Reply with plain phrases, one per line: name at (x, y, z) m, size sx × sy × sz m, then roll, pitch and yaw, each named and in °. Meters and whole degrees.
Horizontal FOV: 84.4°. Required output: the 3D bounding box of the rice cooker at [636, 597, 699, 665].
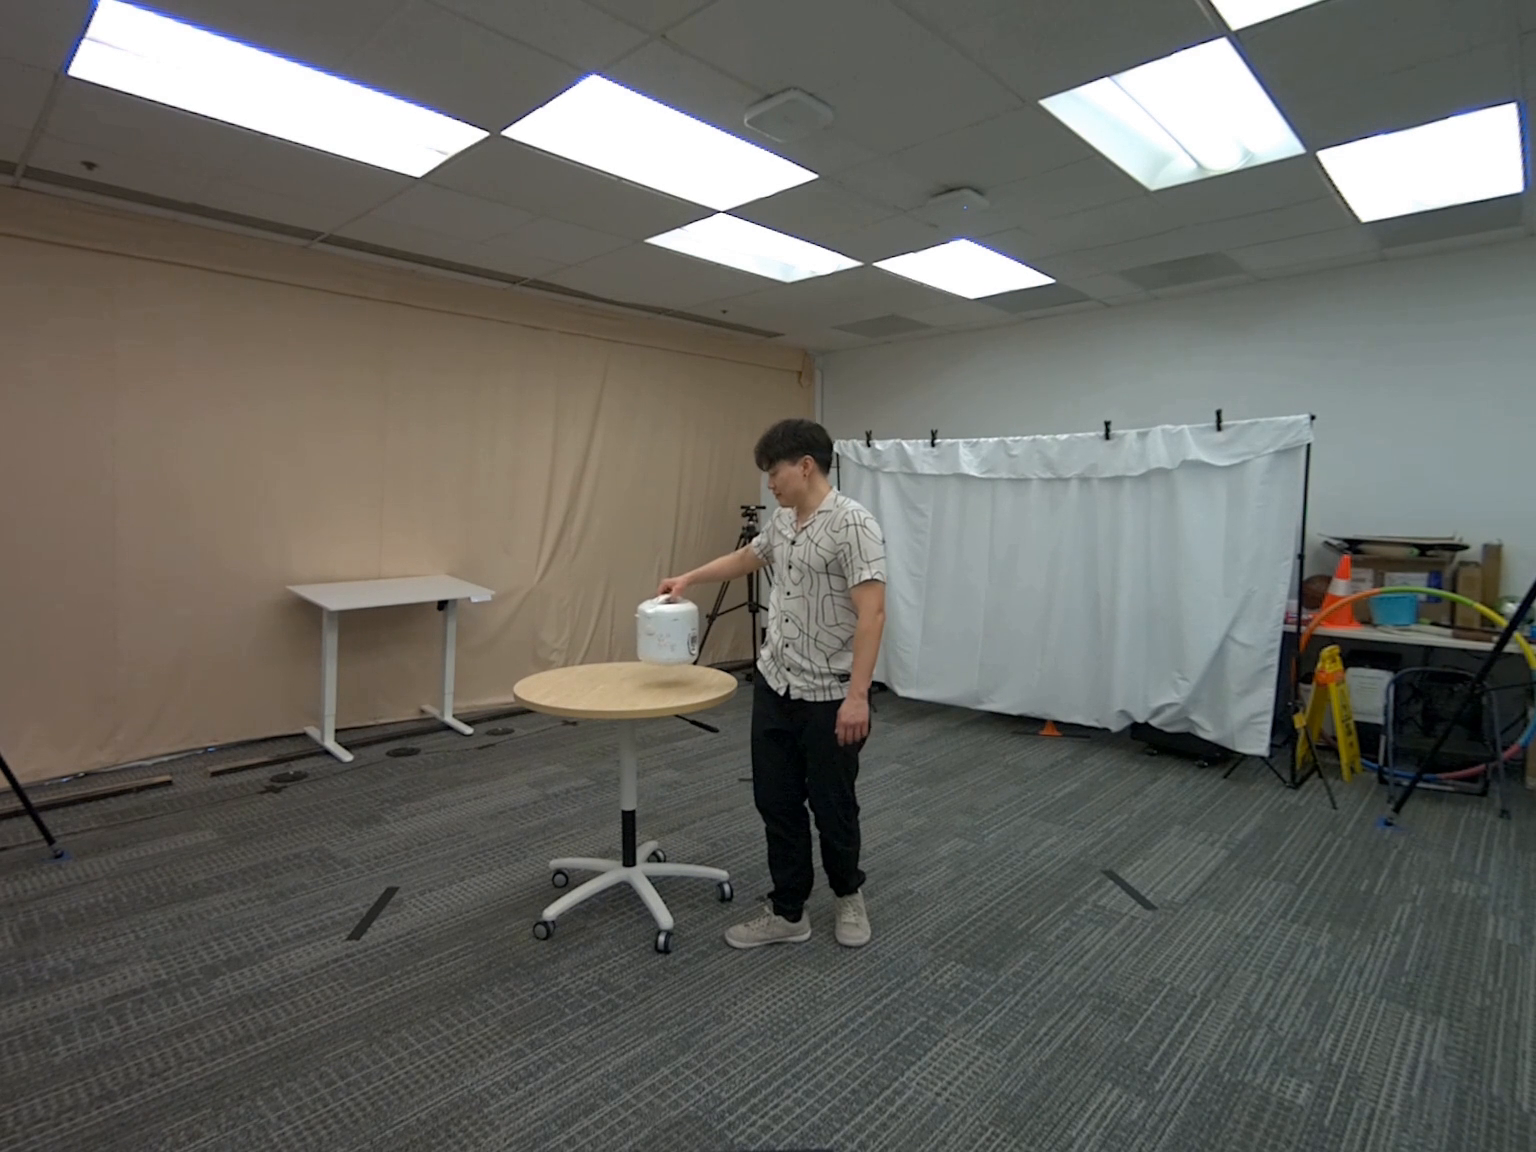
rice cooker at (-0.335, 0.178, 2.855) m, size 0.224 × 0.232 × 0.215 m, roll 2°, pitch 5°, yaw 31°
